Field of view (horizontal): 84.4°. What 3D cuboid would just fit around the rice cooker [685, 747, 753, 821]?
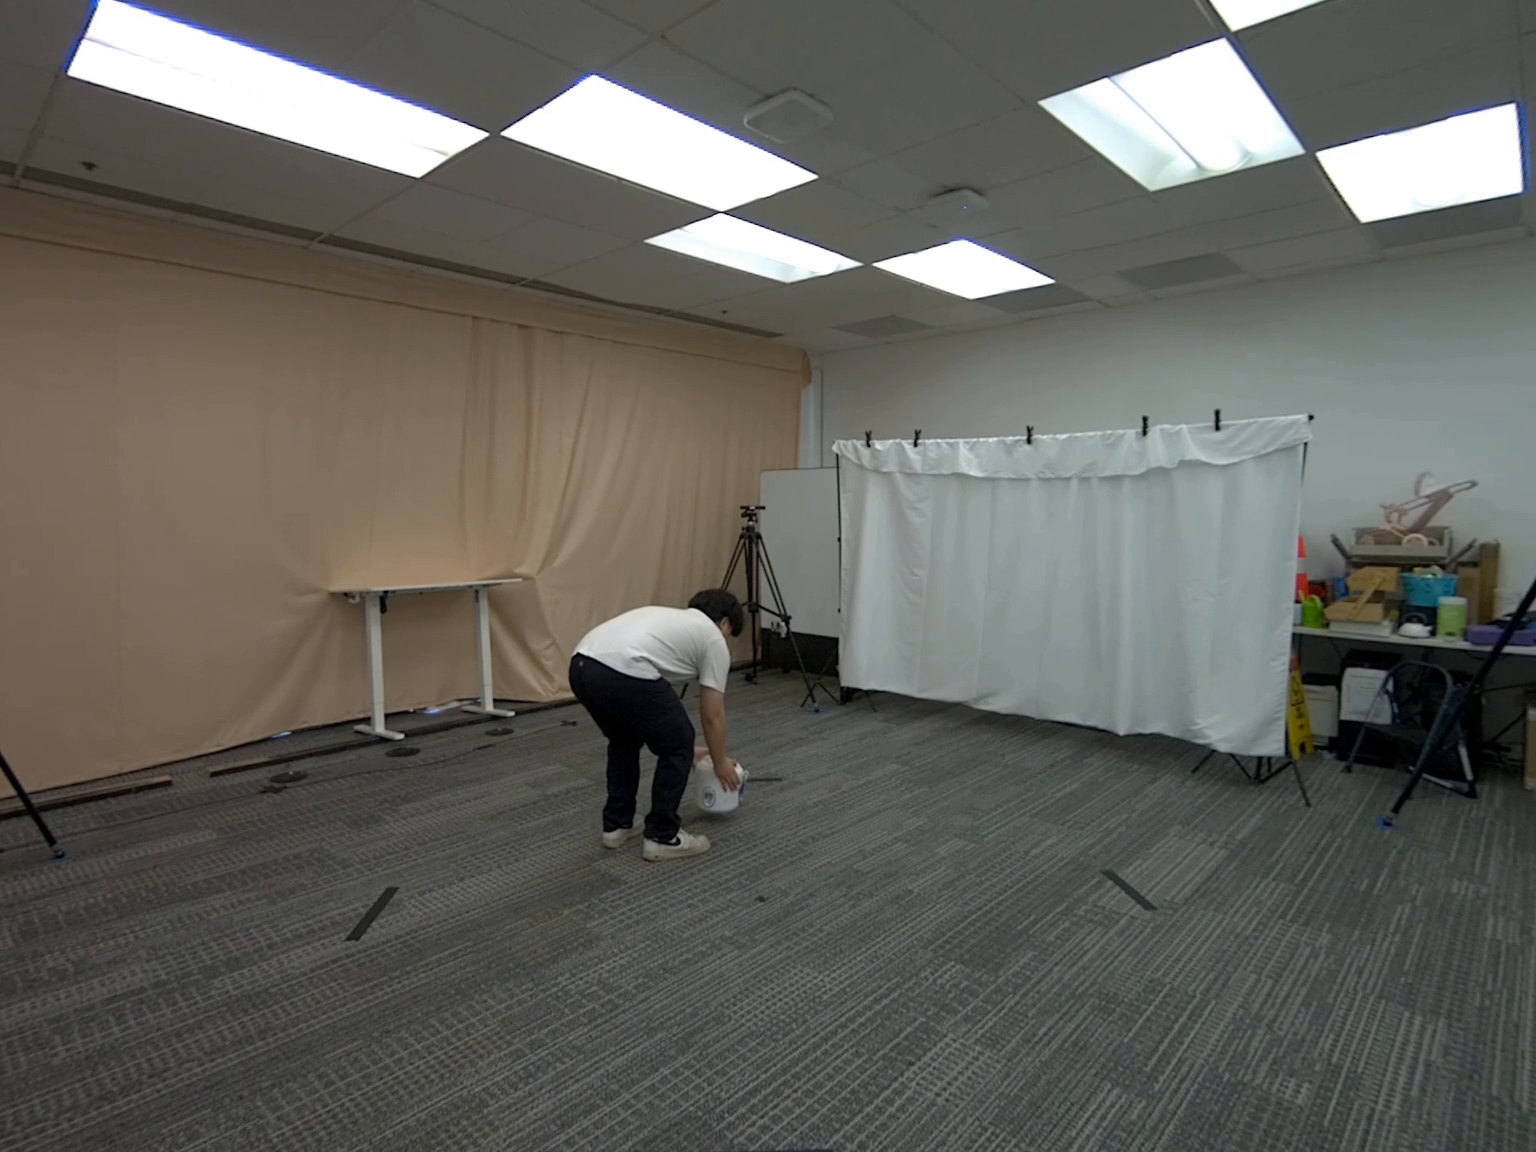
[{"bbox_3d":[-0.216,0.906,3.737,0.225,0.232,0.213,4,3,19],"label":"rice cooker"}]
